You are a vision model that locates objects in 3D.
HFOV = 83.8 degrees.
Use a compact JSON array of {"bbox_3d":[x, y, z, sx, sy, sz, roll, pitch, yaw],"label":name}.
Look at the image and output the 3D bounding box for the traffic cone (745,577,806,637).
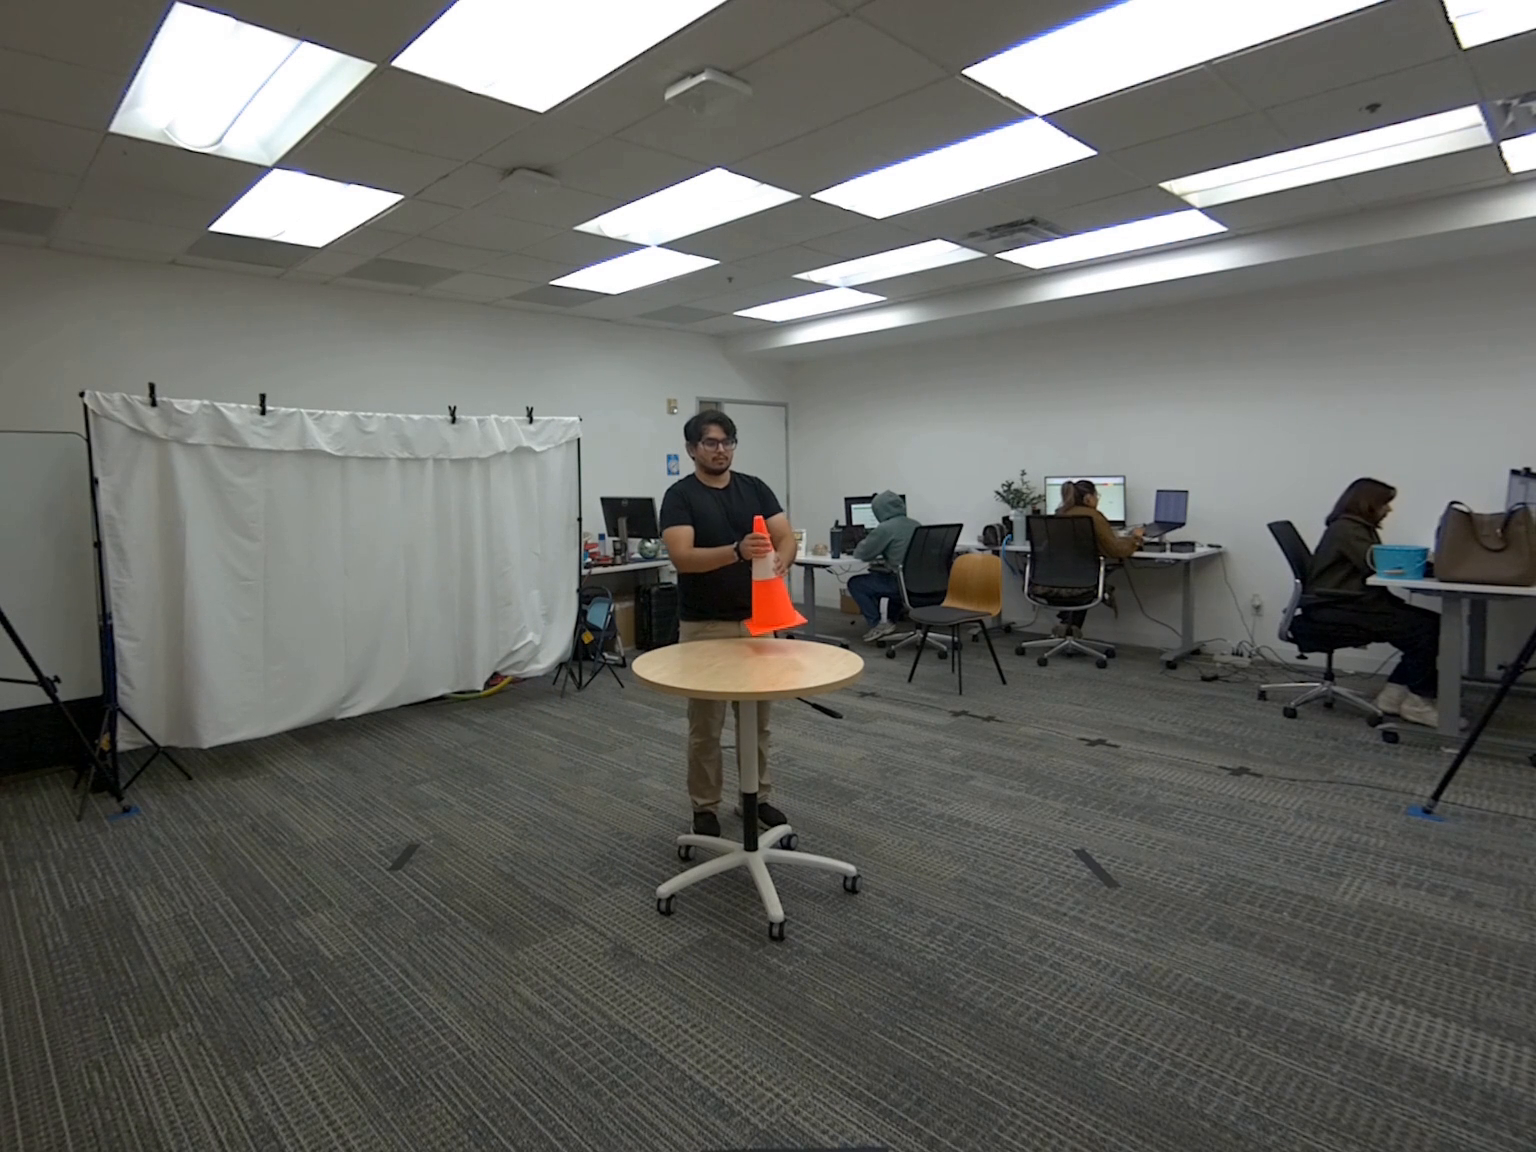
[{"bbox_3d":[-0.008,-0.012,2.982,0.202,0.380,0.208,-9,11,-8],"label":"traffic cone"}]
